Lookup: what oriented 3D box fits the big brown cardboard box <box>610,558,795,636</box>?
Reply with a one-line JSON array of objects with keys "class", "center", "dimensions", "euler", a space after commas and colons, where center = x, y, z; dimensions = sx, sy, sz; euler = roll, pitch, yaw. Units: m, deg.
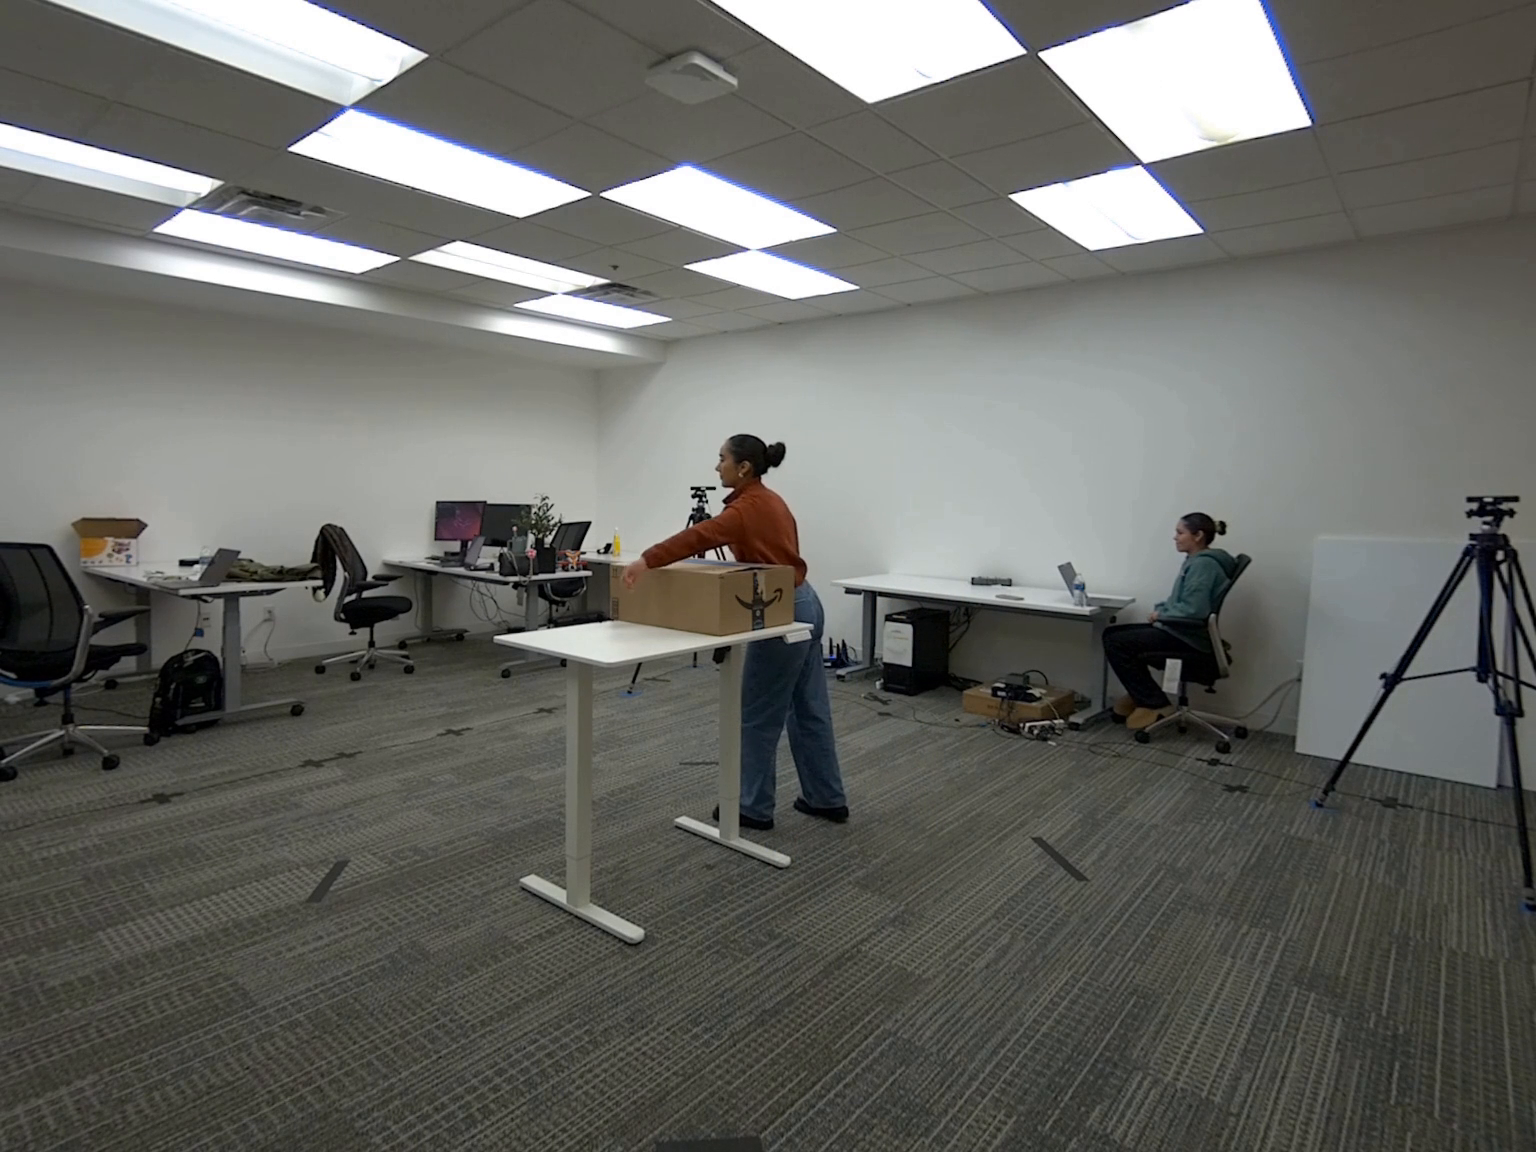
[{"class": "big brown cardboard box", "center": [-0.263, 0.064, 3.225], "dimensions": [0.609, 0.232, 0.405], "euler": [6, 7, 39]}]
